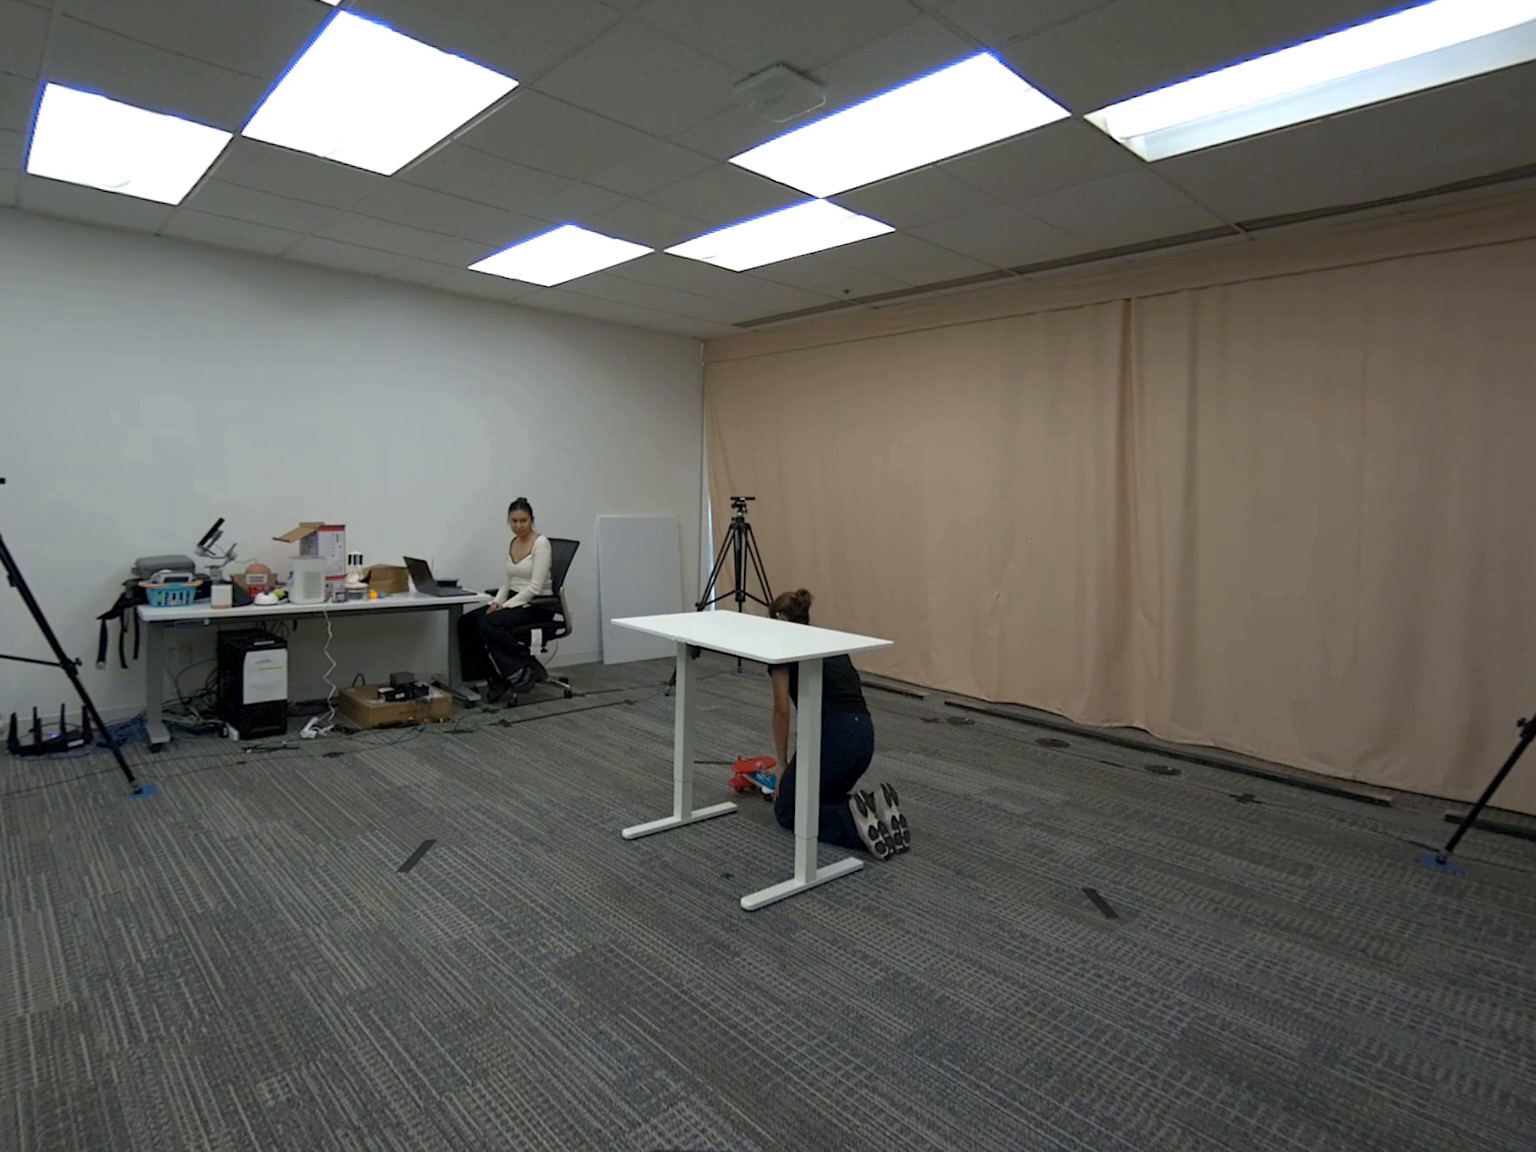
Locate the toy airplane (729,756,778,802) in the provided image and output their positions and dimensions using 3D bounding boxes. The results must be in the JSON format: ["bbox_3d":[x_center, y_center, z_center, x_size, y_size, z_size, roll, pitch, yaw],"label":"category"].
[{"bbox_3d":[-0.047,0.960,3.986,0.263,0.156,0.247,2,4,21],"label":"toy airplane"}]
